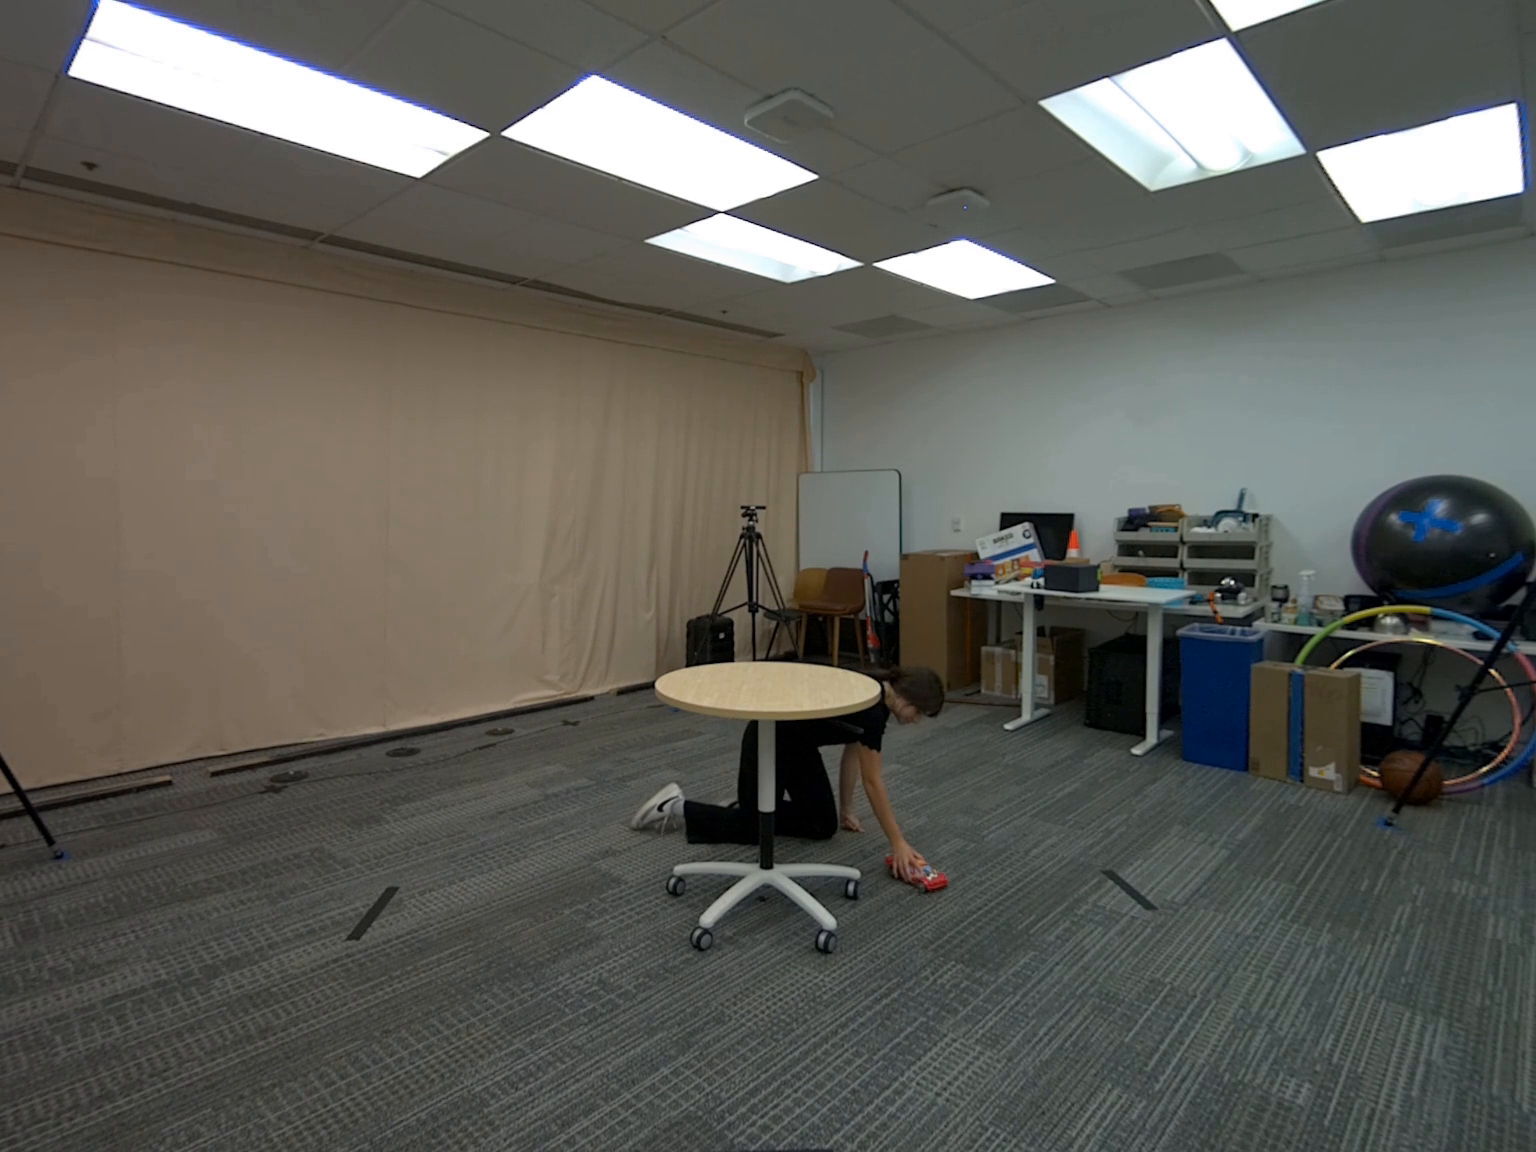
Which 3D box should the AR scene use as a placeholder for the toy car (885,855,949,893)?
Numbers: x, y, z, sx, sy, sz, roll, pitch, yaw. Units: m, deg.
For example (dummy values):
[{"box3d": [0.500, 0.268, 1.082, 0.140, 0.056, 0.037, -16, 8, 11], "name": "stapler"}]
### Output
[{"box3d": [0.551, 1.099, 3.134, 0.127, 0.082, 0.263, -3, 15, -31], "name": "toy car"}]
